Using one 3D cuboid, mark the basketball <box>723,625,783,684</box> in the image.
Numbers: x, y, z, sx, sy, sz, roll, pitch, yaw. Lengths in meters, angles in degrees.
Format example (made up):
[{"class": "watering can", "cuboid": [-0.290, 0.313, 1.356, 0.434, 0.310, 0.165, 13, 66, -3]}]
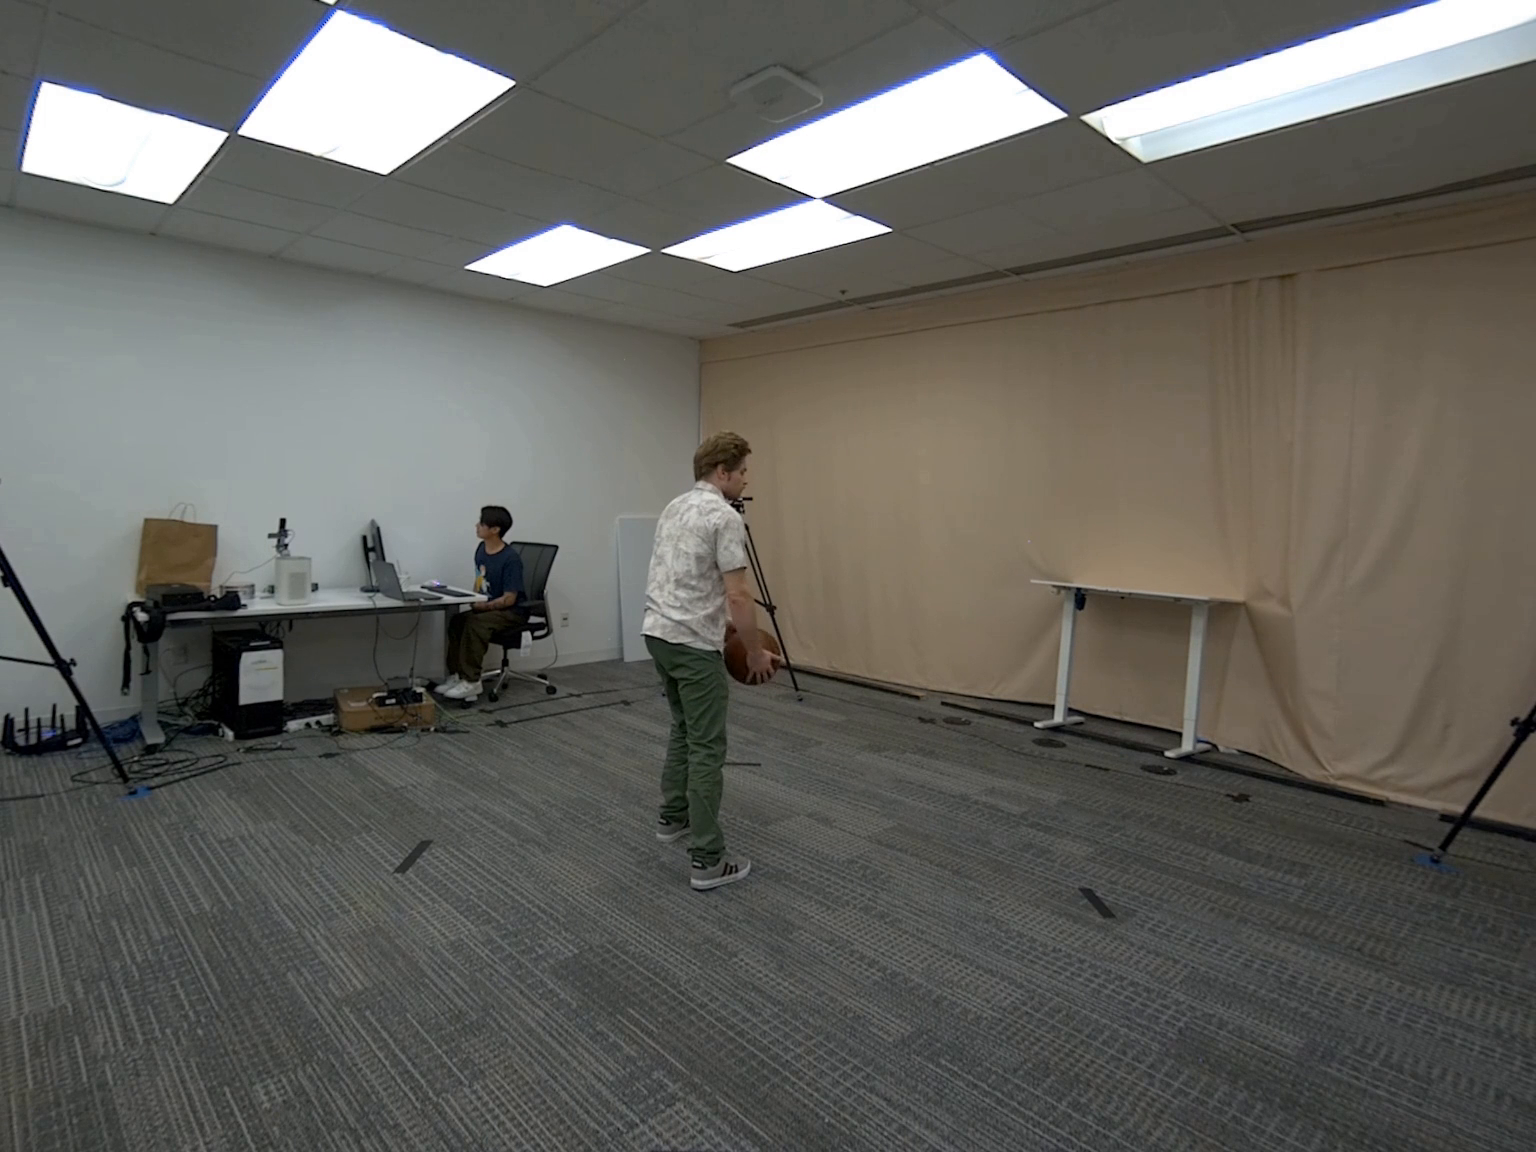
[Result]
[{"class": "basketball", "cuboid": [-0.072, 0.319, 3.490, 0.236, 0.235, 0.237, 1, 4, -1]}]
